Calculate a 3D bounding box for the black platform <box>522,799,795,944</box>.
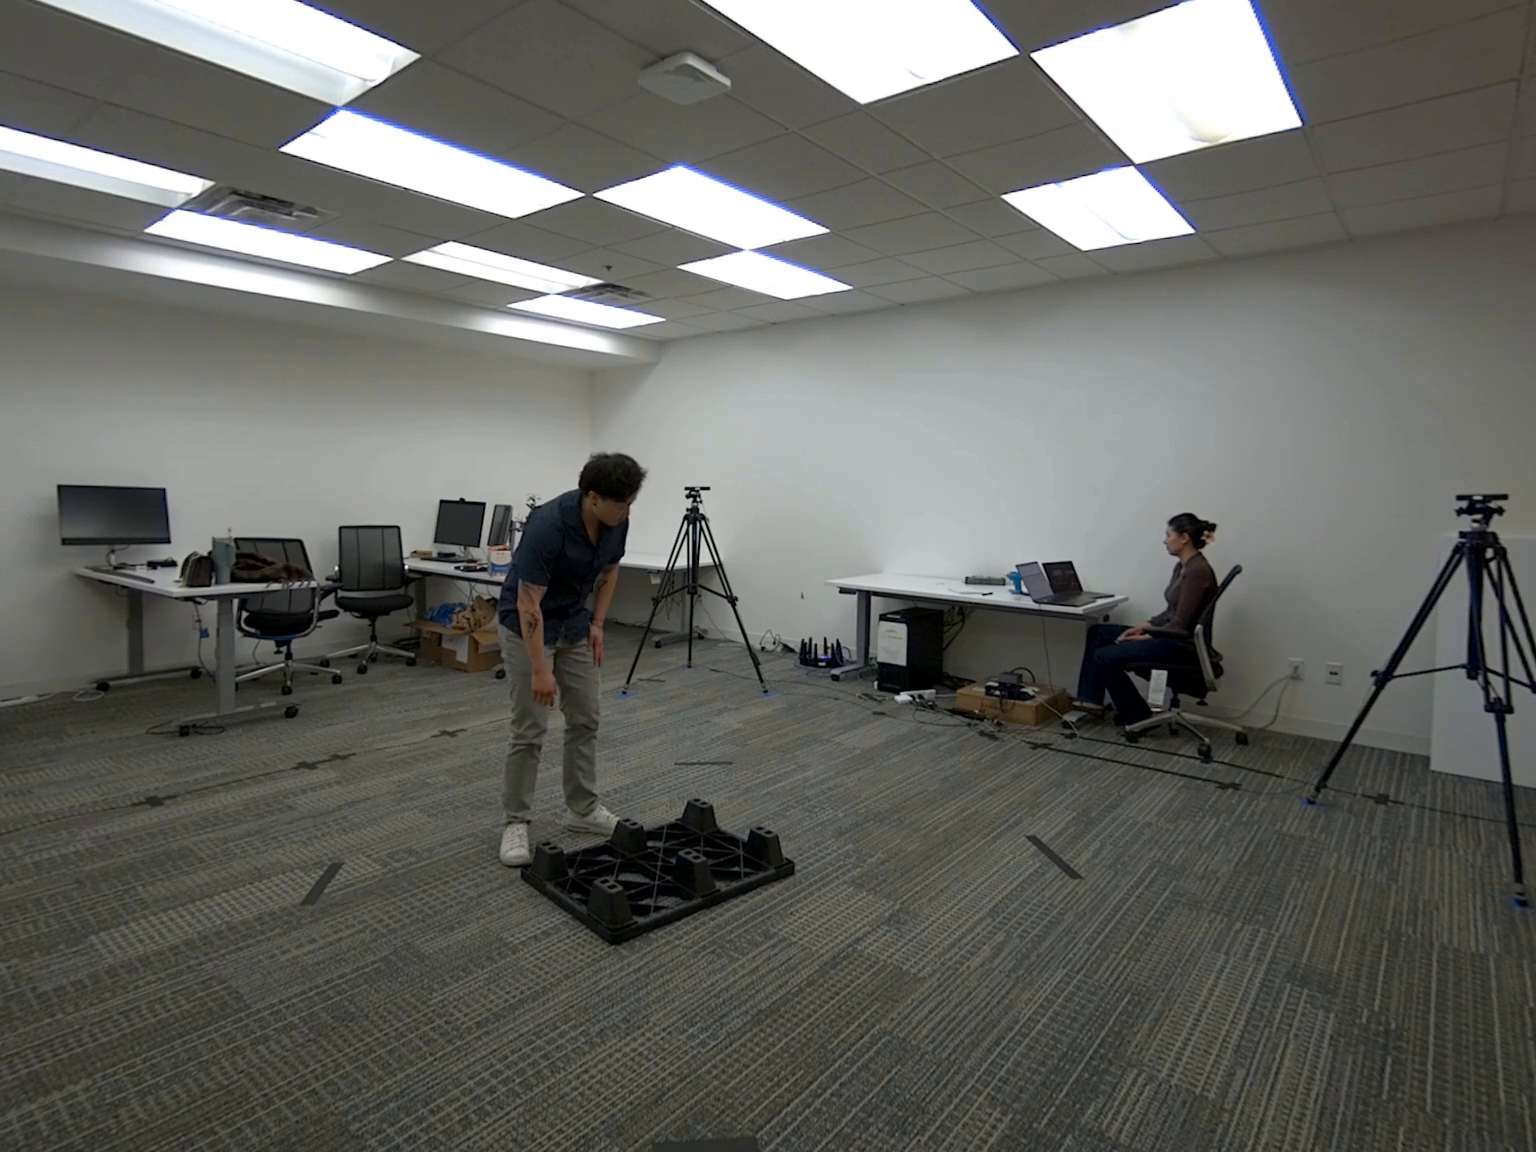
[{"bbox_3d":[-0.397,1.002,3.047,0.781,0.143,0.626,-4,8,-43],"label":"black platform"}]
